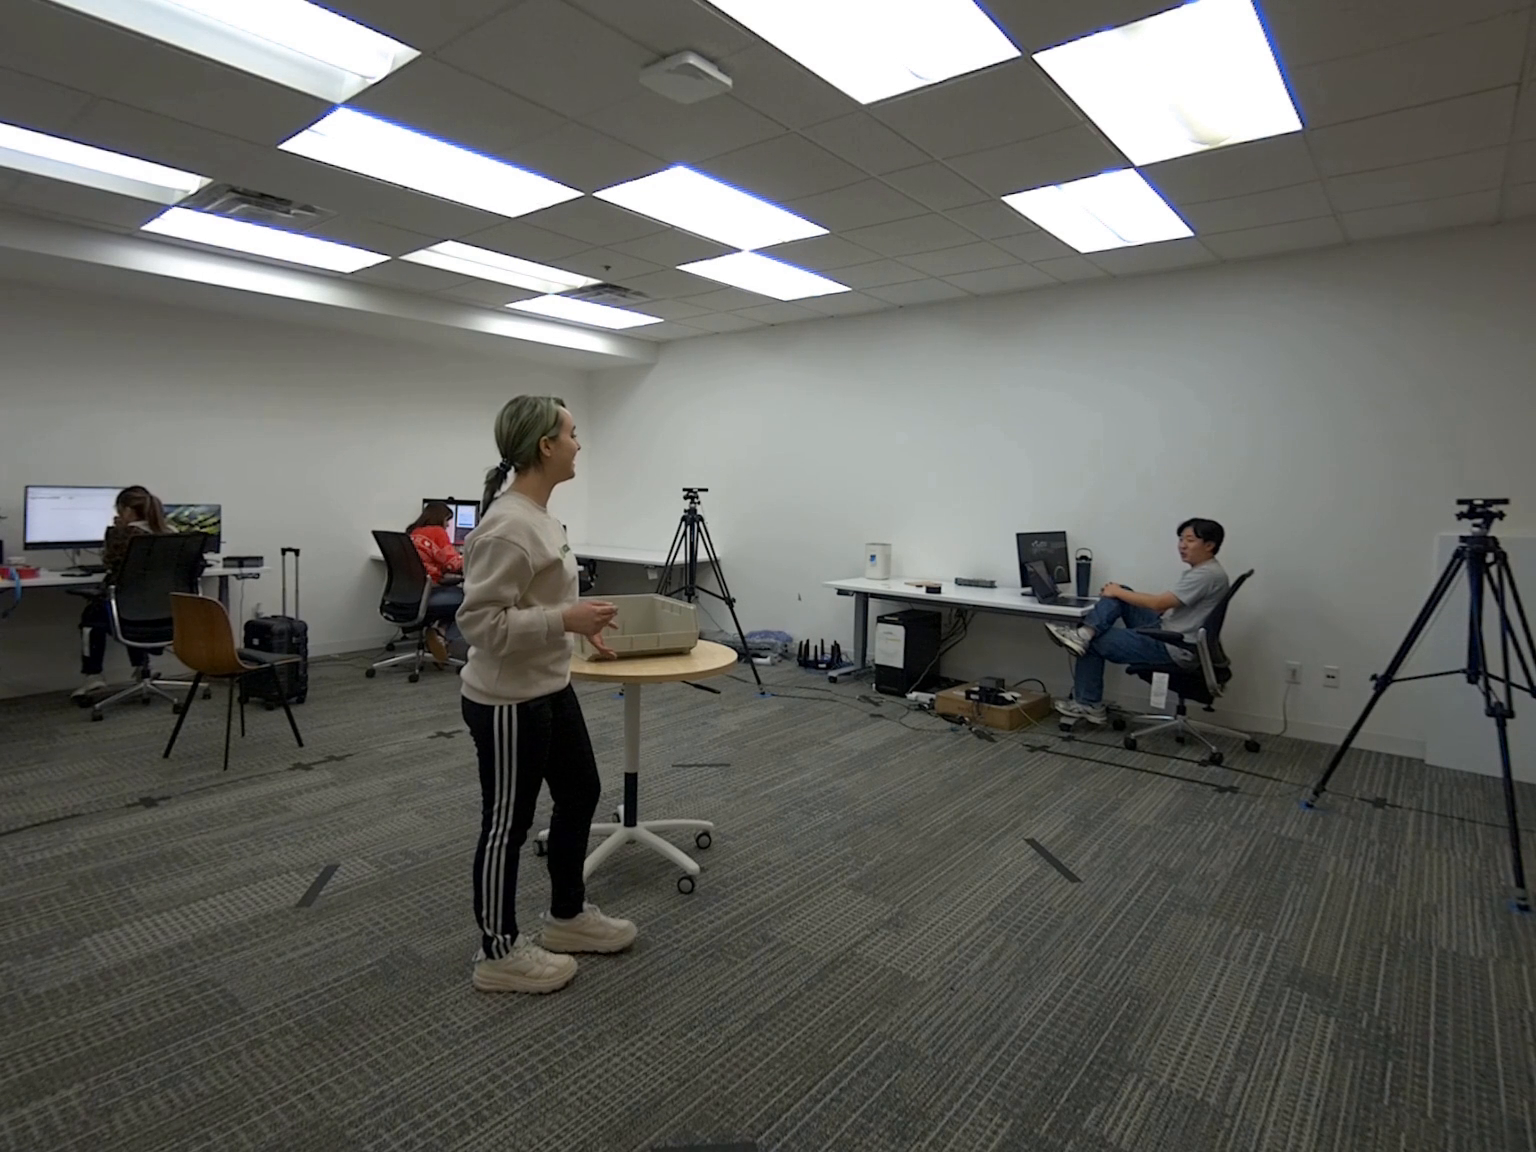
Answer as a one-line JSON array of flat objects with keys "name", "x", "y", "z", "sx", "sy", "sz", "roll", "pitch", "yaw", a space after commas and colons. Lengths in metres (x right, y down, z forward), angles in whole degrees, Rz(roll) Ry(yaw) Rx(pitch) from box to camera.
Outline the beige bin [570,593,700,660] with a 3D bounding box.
[{"name": "beige bin", "x": -0.532, "y": 0.187, "z": 3.150, "sx": 0.411, "sy": 0.188, "sz": 0.389, "roll": -2, "pitch": 5, "yaw": -31}]
